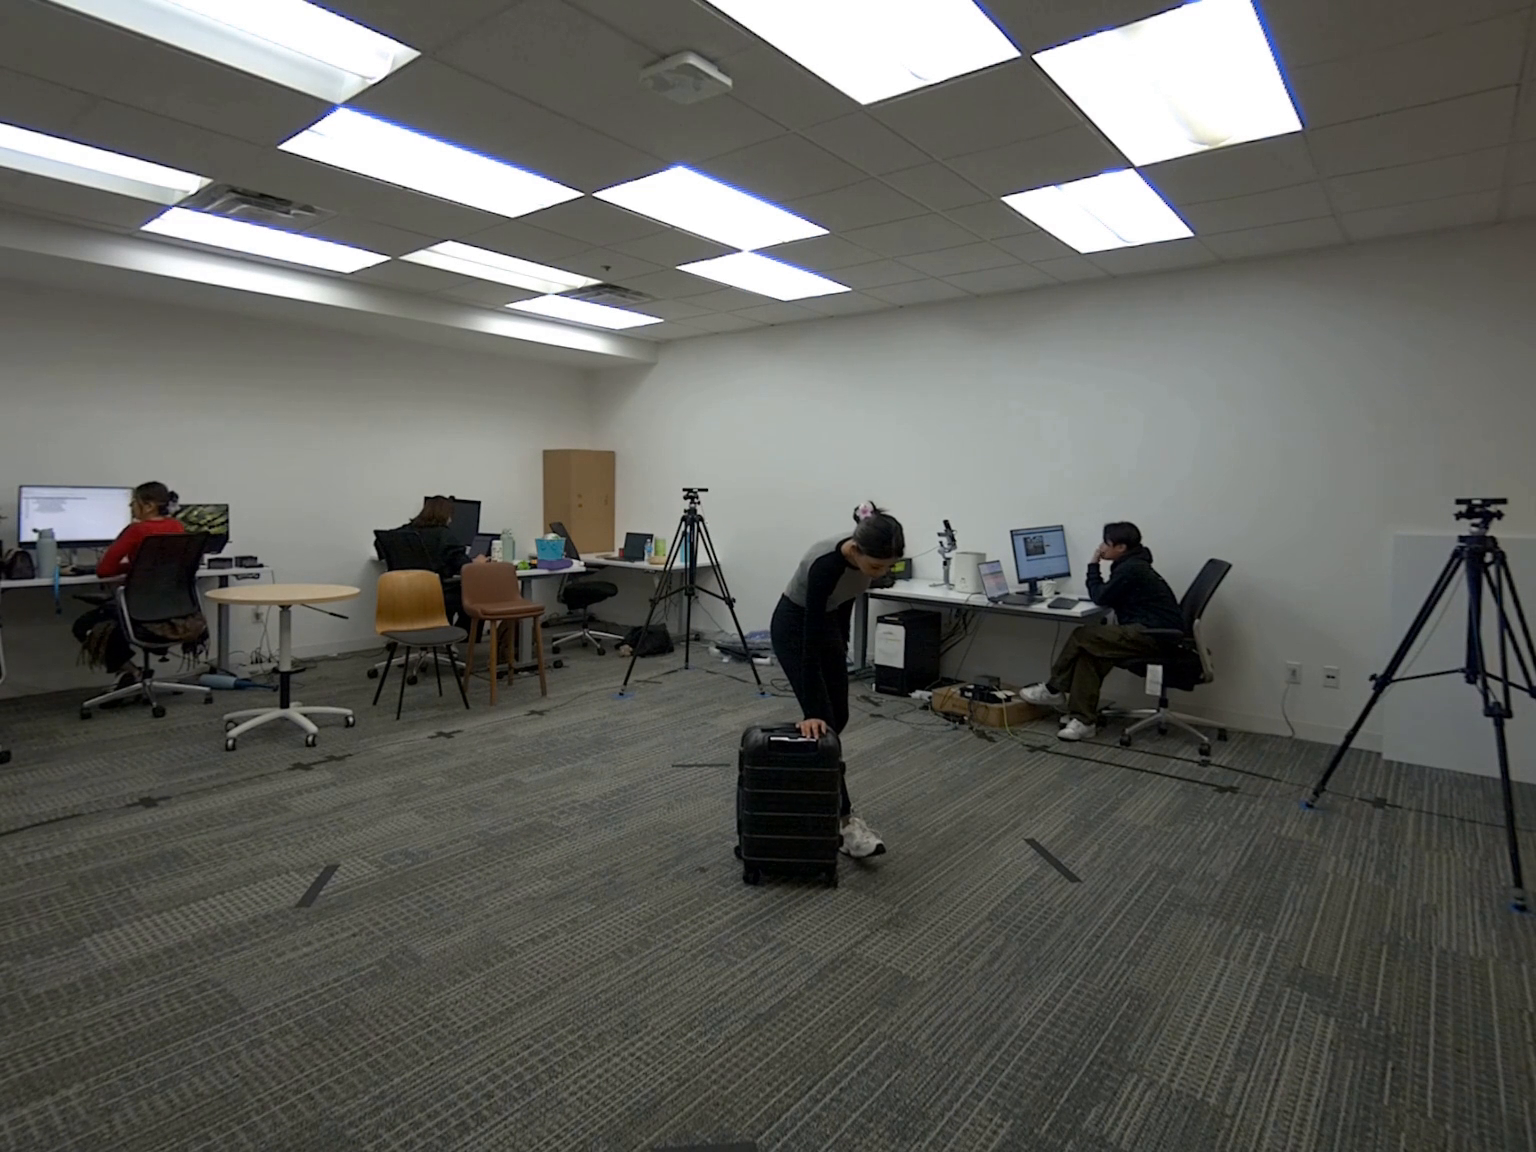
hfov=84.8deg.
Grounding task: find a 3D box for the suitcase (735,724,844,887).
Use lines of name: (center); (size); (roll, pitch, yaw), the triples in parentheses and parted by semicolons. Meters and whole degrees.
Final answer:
suitcase: (0.066, 0.802, 3.073); (0.376, 0.547, 0.249); (2, 4, 0)
